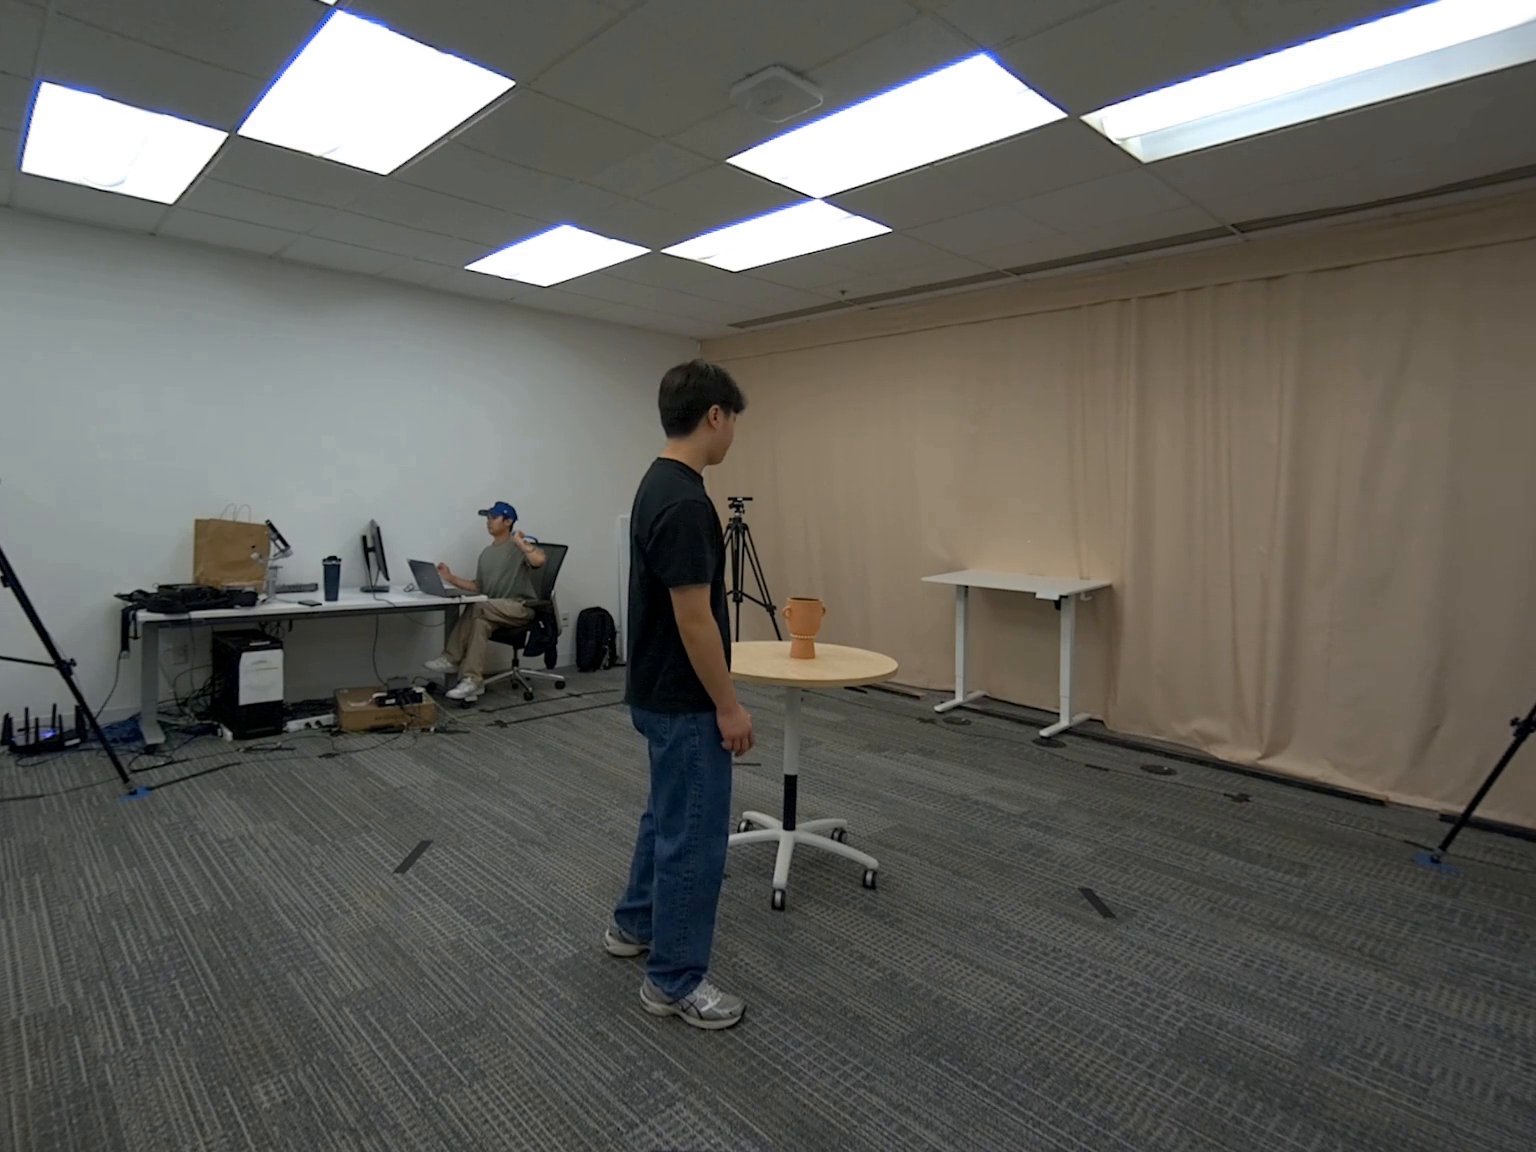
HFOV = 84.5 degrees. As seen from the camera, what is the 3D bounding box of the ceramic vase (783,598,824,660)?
[{"bbox_3d":[0.131,0.201,3.204,0.160,0.219,0.133,3,3,12],"label":"ceramic vase"}]
